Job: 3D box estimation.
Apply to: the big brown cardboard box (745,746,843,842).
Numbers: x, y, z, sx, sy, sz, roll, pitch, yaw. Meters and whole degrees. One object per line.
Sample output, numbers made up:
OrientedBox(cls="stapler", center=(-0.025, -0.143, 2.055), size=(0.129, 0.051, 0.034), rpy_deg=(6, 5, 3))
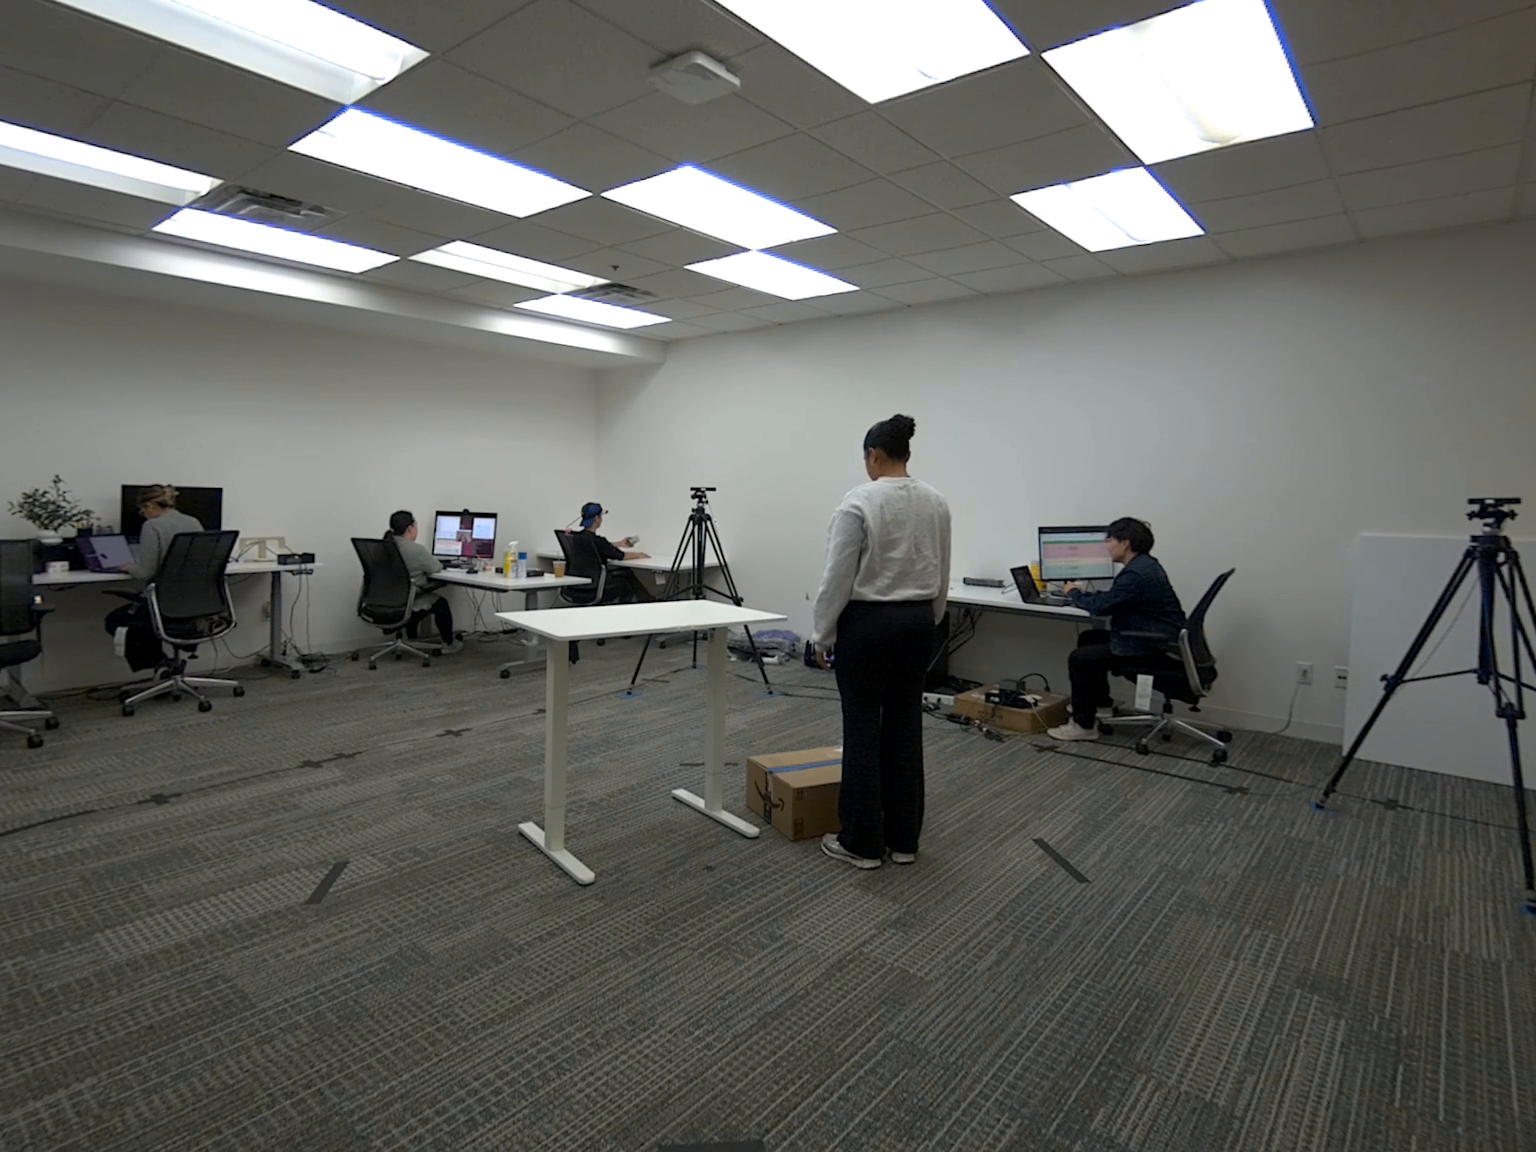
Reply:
OrientedBox(cls="big brown cardboard box", center=(0.241, 0.910, 3.666), size=(0.575, 0.232, 0.430), rpy_deg=(-3, 6, -27))
